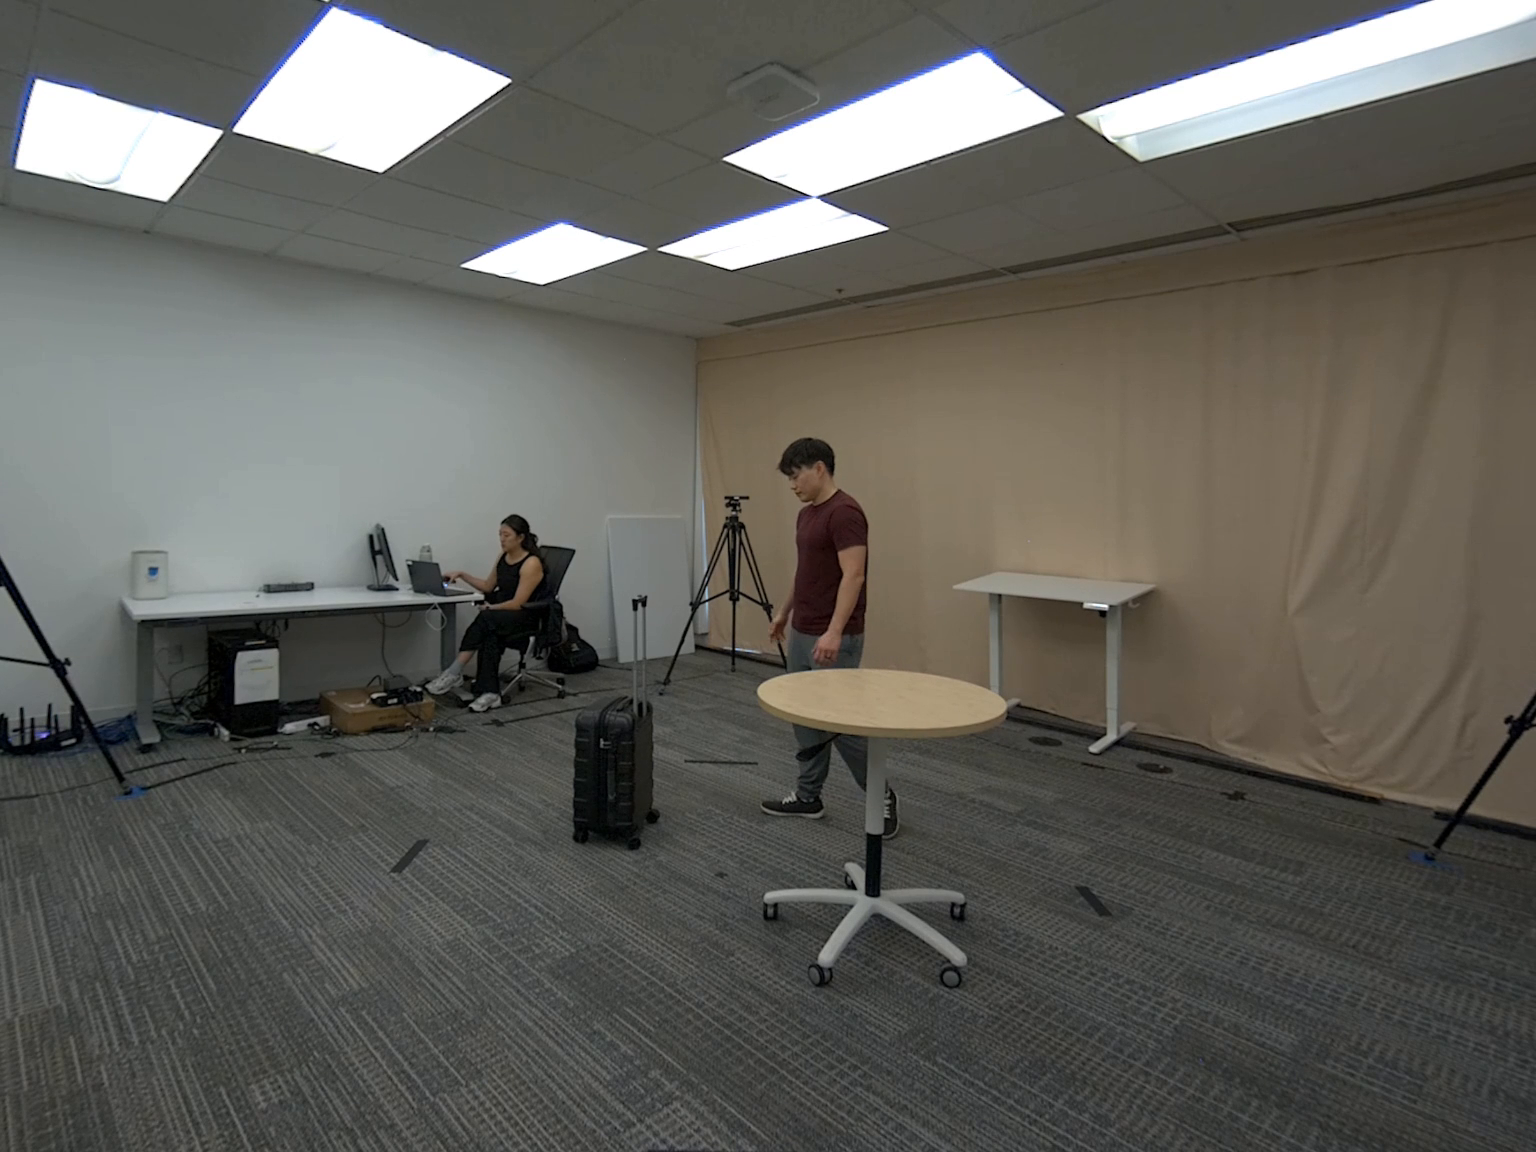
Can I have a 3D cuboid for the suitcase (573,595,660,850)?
[{"bbox_3d":[-0.636,0.583,3.455,0.259,0.976,0.382,0,3,8],"label":"suitcase"}]
